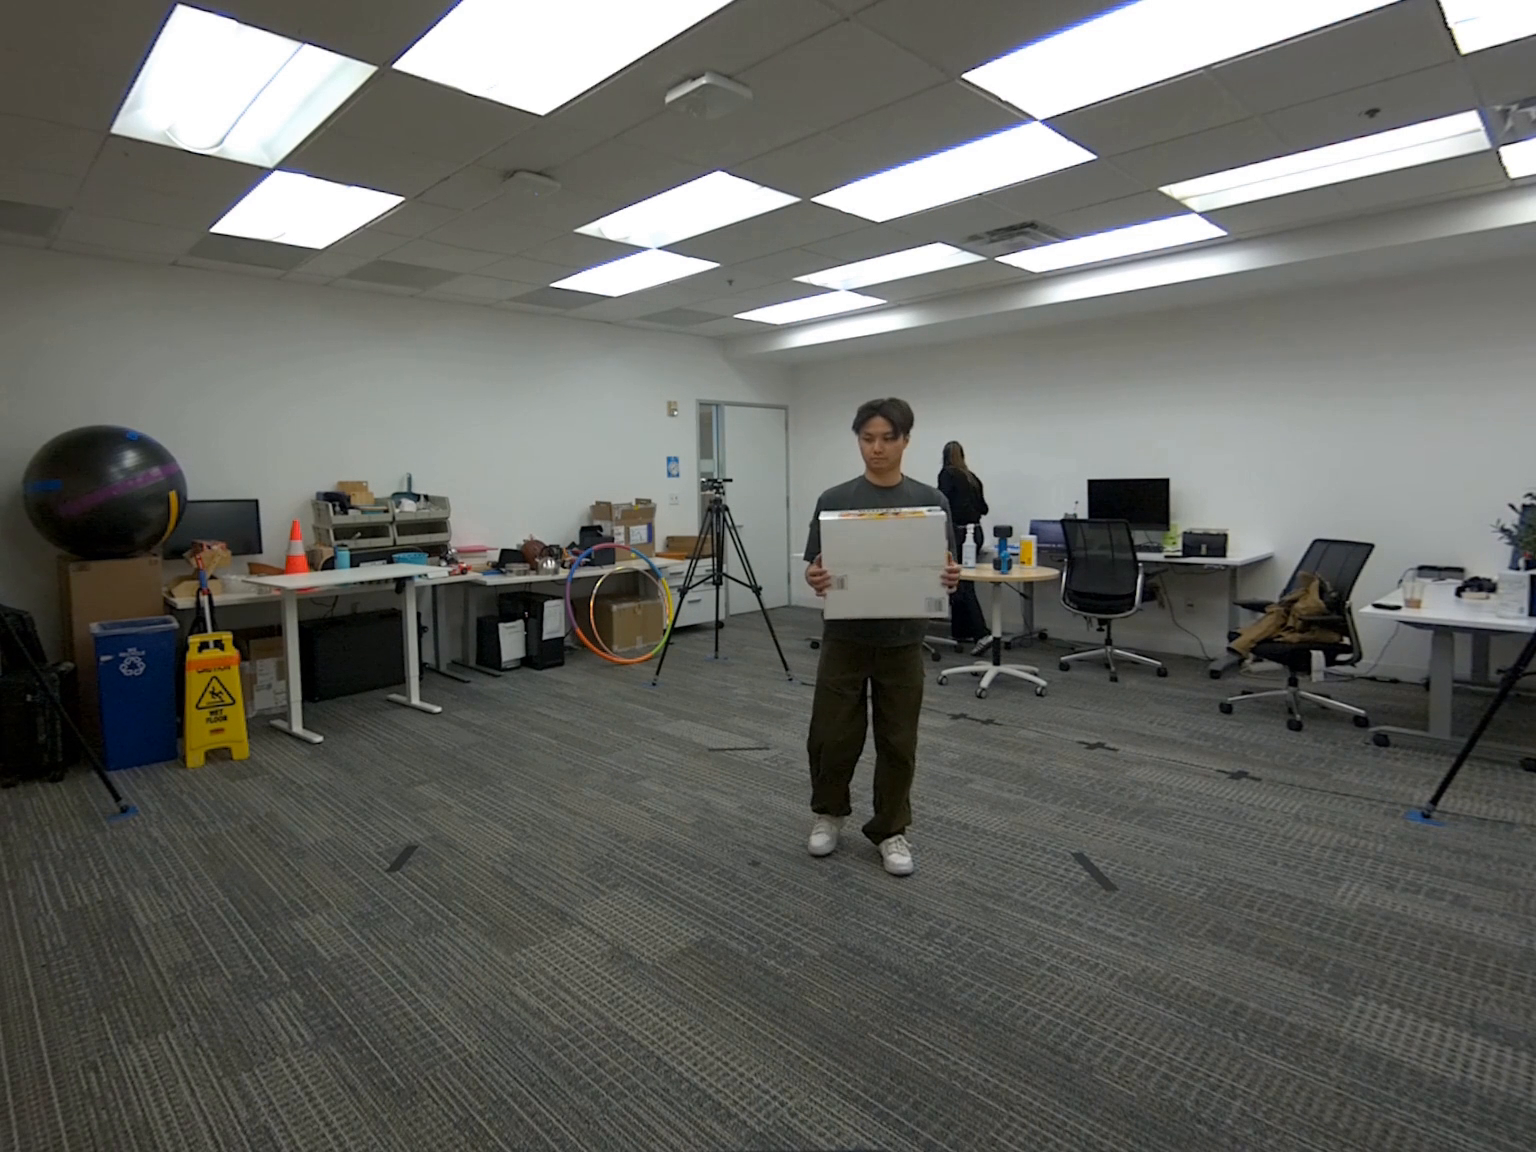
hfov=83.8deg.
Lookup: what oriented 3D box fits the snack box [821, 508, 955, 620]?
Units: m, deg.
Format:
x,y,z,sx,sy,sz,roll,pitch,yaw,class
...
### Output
x,y,z,sx,sy,sz,roll,pitch,yaw,class
0.395,-0.046,2.858,0.409,0.338,0.205,-2,7,9,snack box
